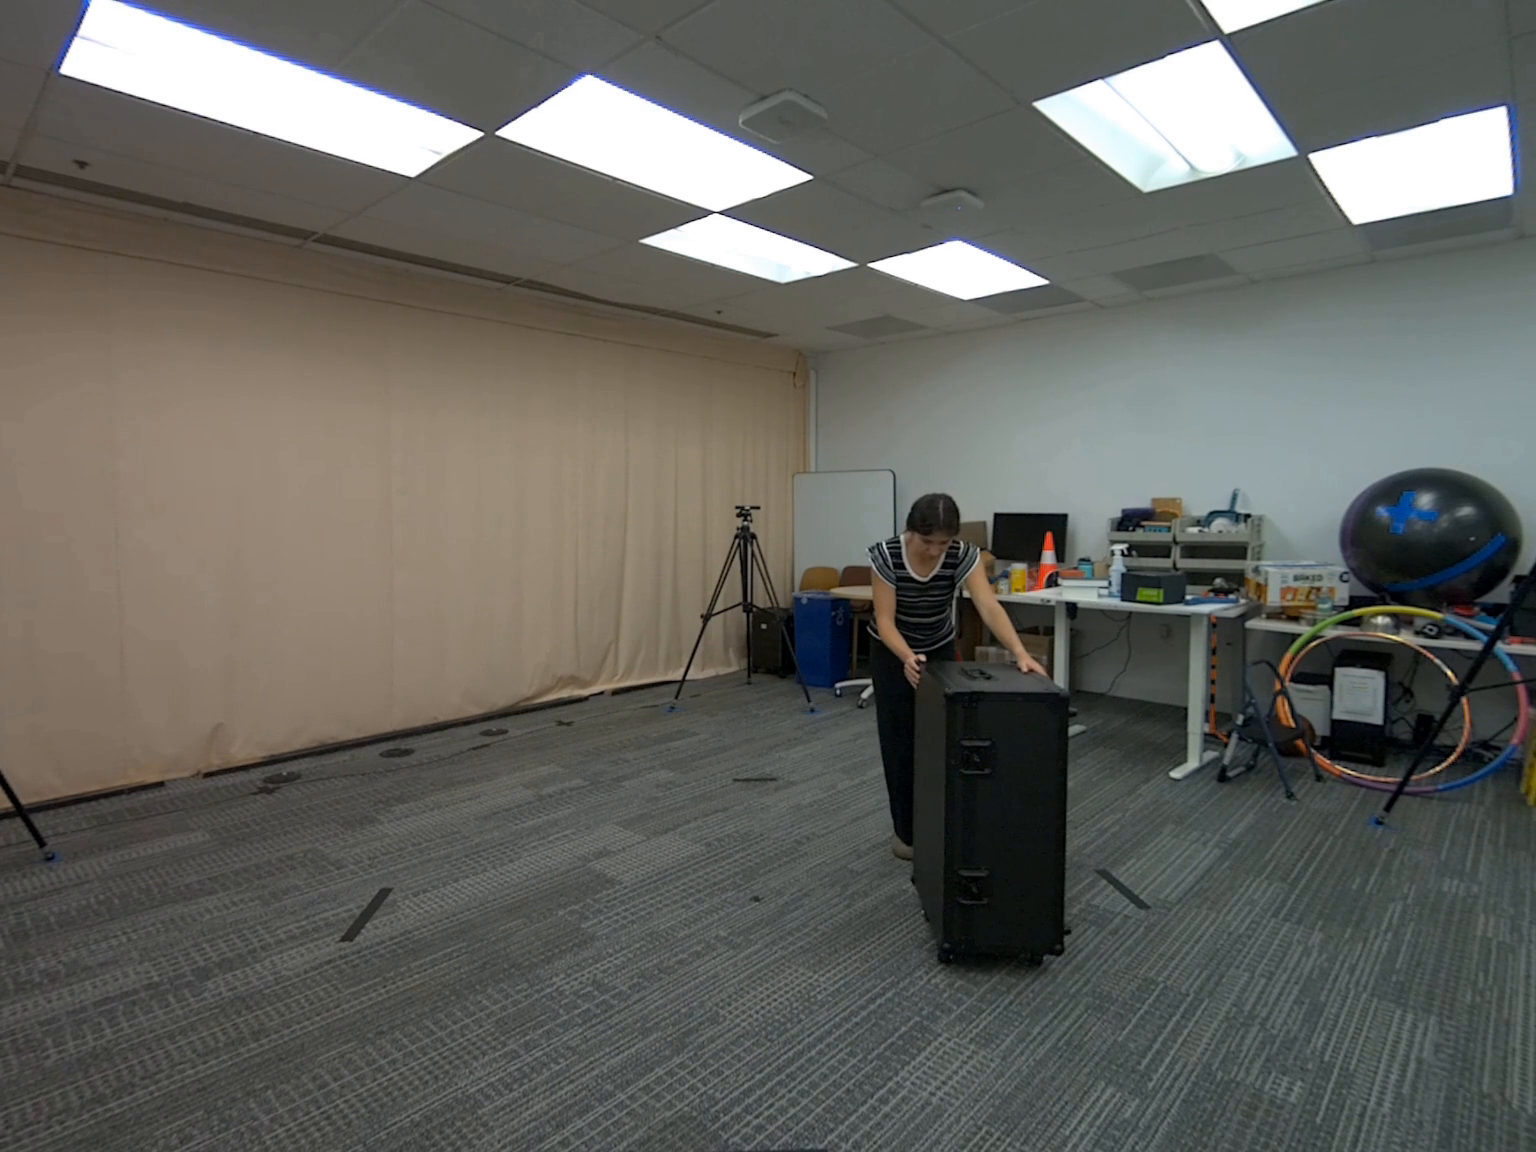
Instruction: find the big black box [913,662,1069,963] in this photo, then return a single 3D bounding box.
[{"bbox_3d":[0.701,0.743,2.695,0.398,0.860,0.520,1,3,2],"label":"big black box"}]
